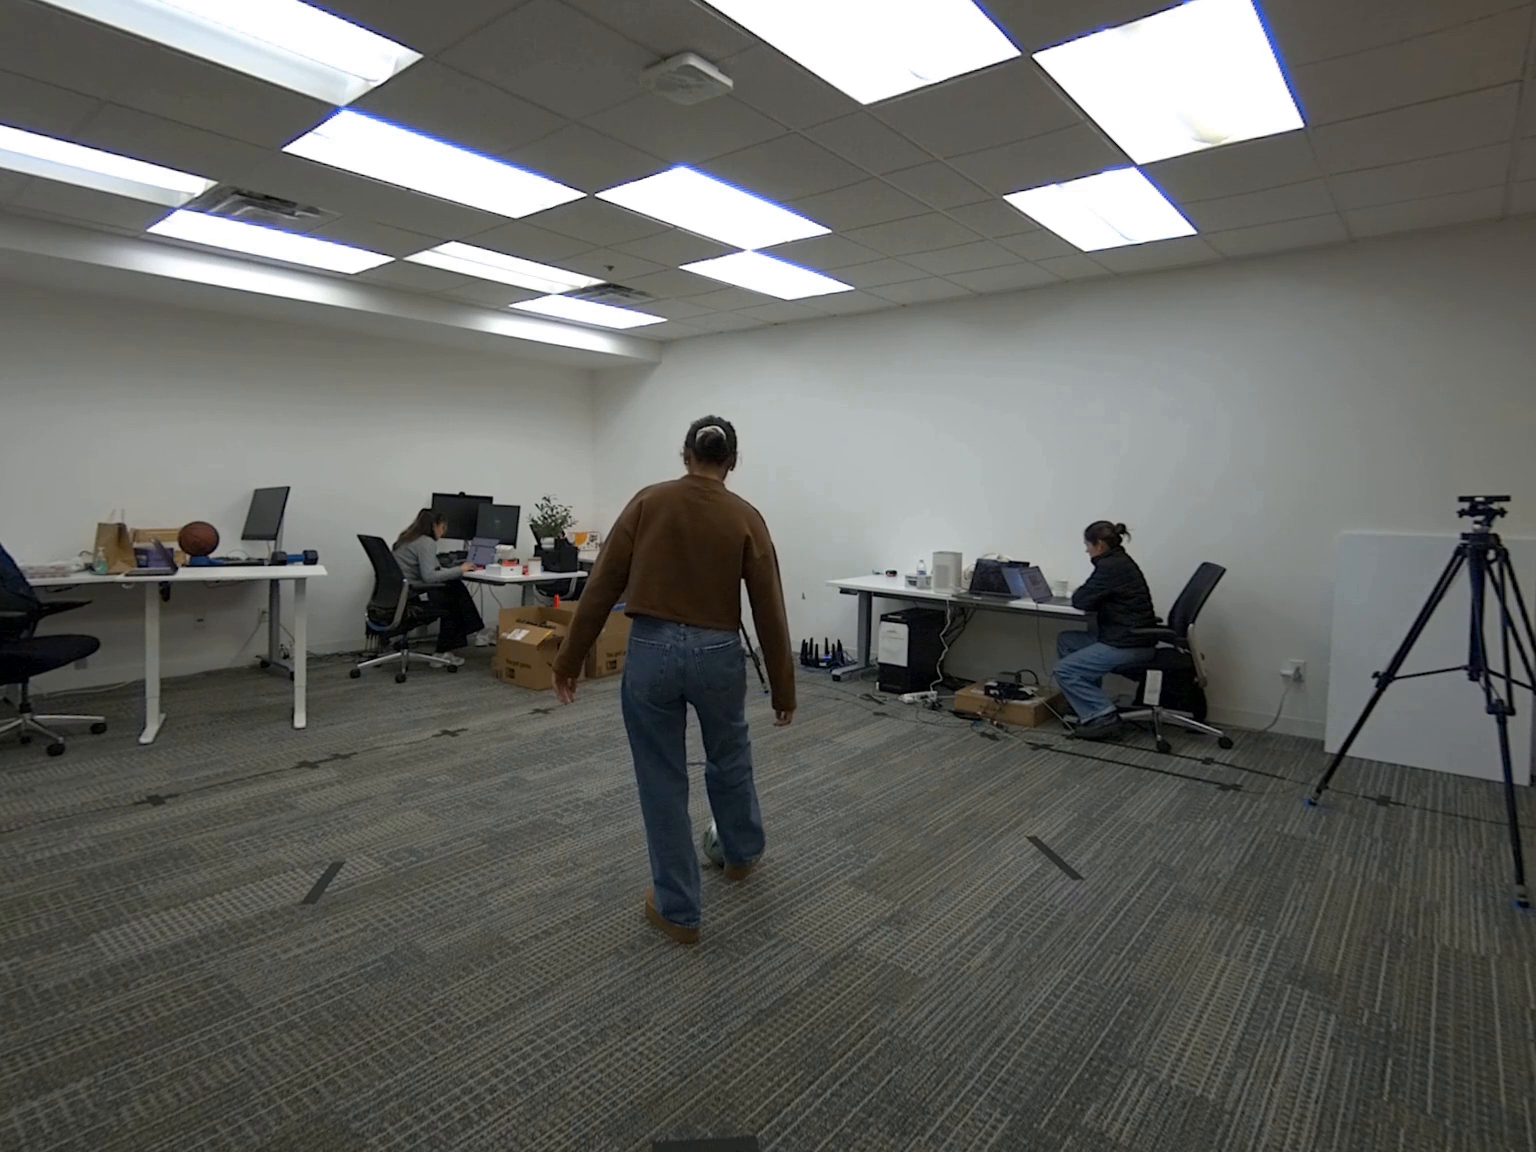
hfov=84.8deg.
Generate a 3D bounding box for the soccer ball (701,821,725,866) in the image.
[{"bbox_3d":[-0.166,0.967,3.147,0.187,0.187,0.188,1,4,-2],"label":"soccer ball"}]
